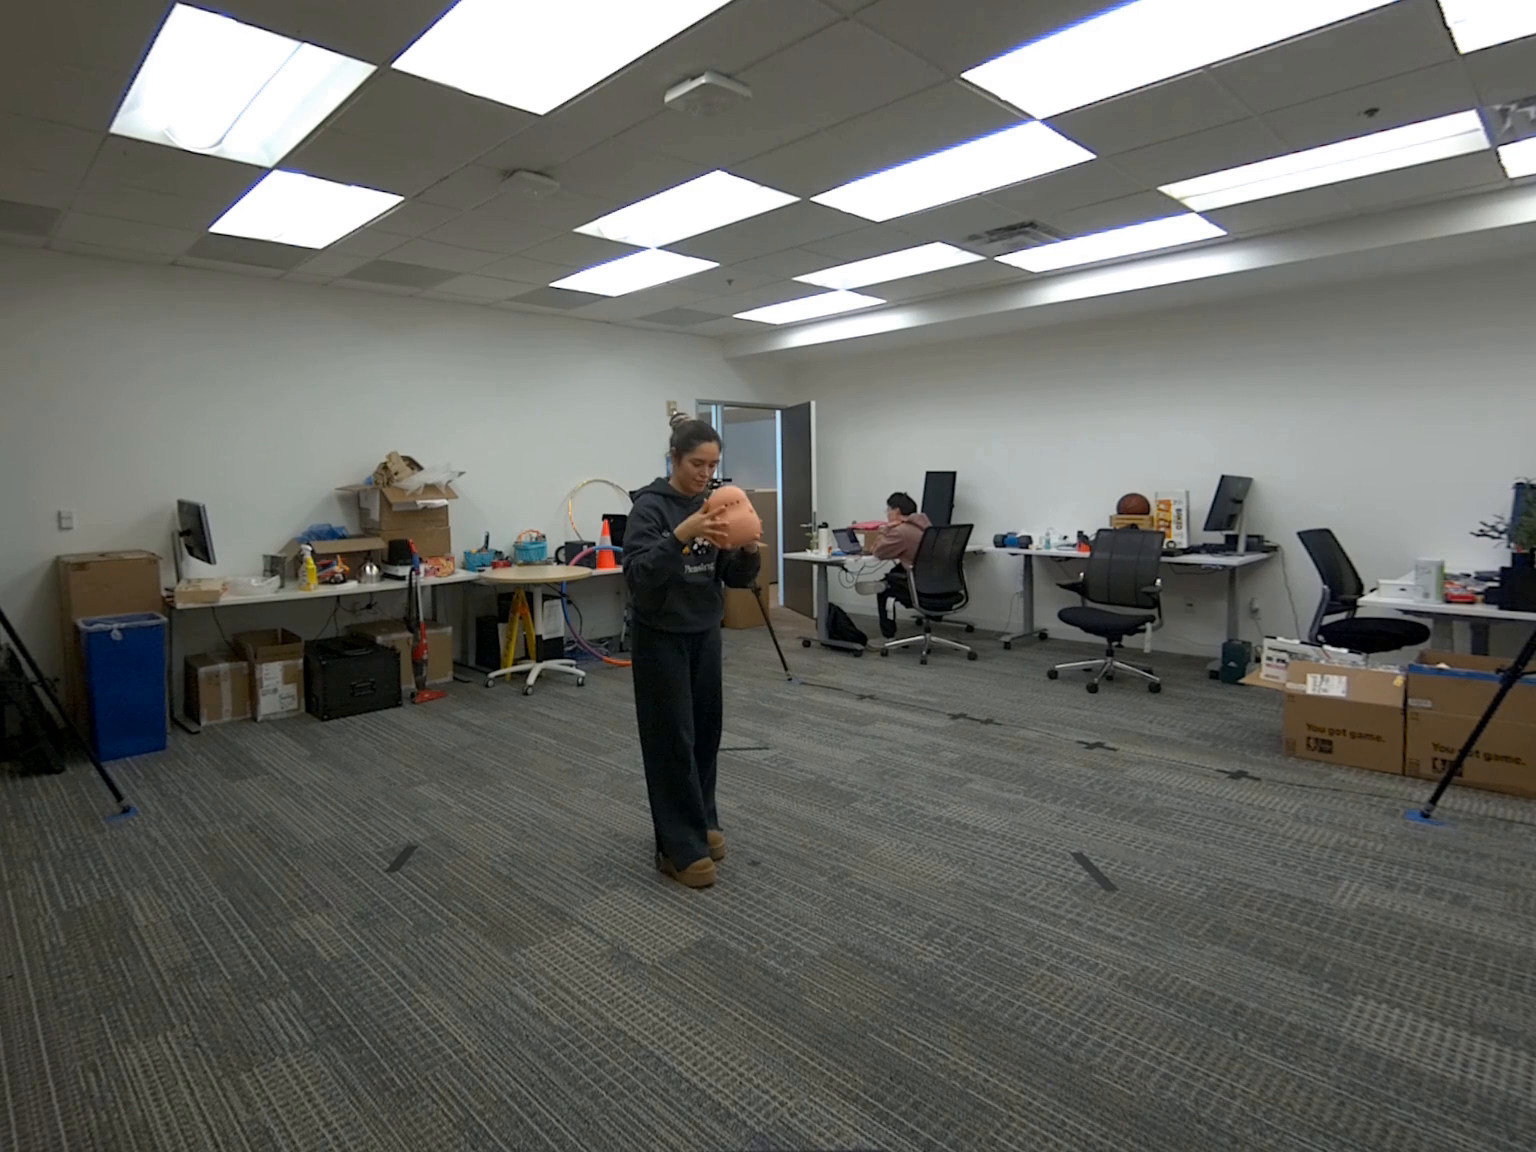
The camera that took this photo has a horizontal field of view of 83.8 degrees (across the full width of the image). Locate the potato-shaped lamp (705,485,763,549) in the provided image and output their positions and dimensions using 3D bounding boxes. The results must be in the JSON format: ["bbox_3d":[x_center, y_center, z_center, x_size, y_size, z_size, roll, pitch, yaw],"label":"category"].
[{"bbox_3d":[-0.130,-0.183,2.775,0.160,0.198,0.175,-4,-2,-35],"label":"potato-shaped lamp"}]
